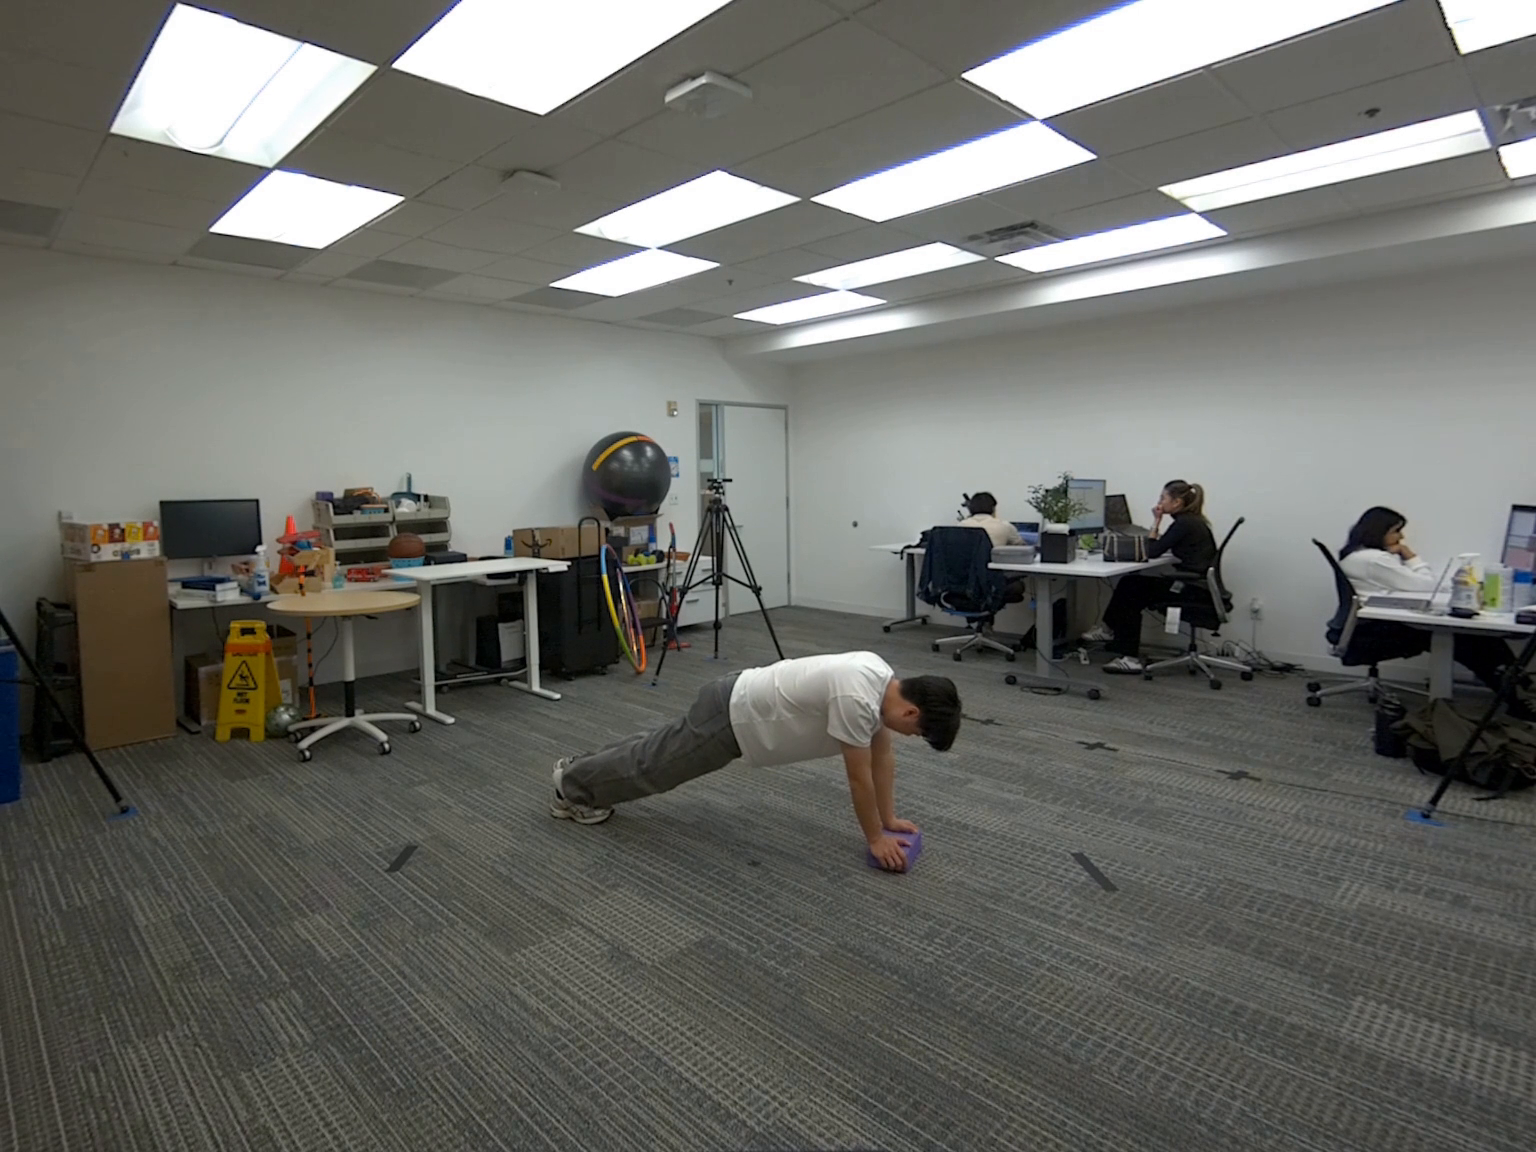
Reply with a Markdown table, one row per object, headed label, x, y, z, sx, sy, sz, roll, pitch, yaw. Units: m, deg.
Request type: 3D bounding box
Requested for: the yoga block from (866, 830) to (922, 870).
| label | x | y | z | sx | sy | sz | roll | pitch | yaw |
| --- | --- | --- | --- | --- | --- | --- | --- | --- | --- |
| yoga block | 0.467 | 0.999 | 3.138 | 0.153 | 0.076 | 0.225 | 3 | 6 | 26 |
